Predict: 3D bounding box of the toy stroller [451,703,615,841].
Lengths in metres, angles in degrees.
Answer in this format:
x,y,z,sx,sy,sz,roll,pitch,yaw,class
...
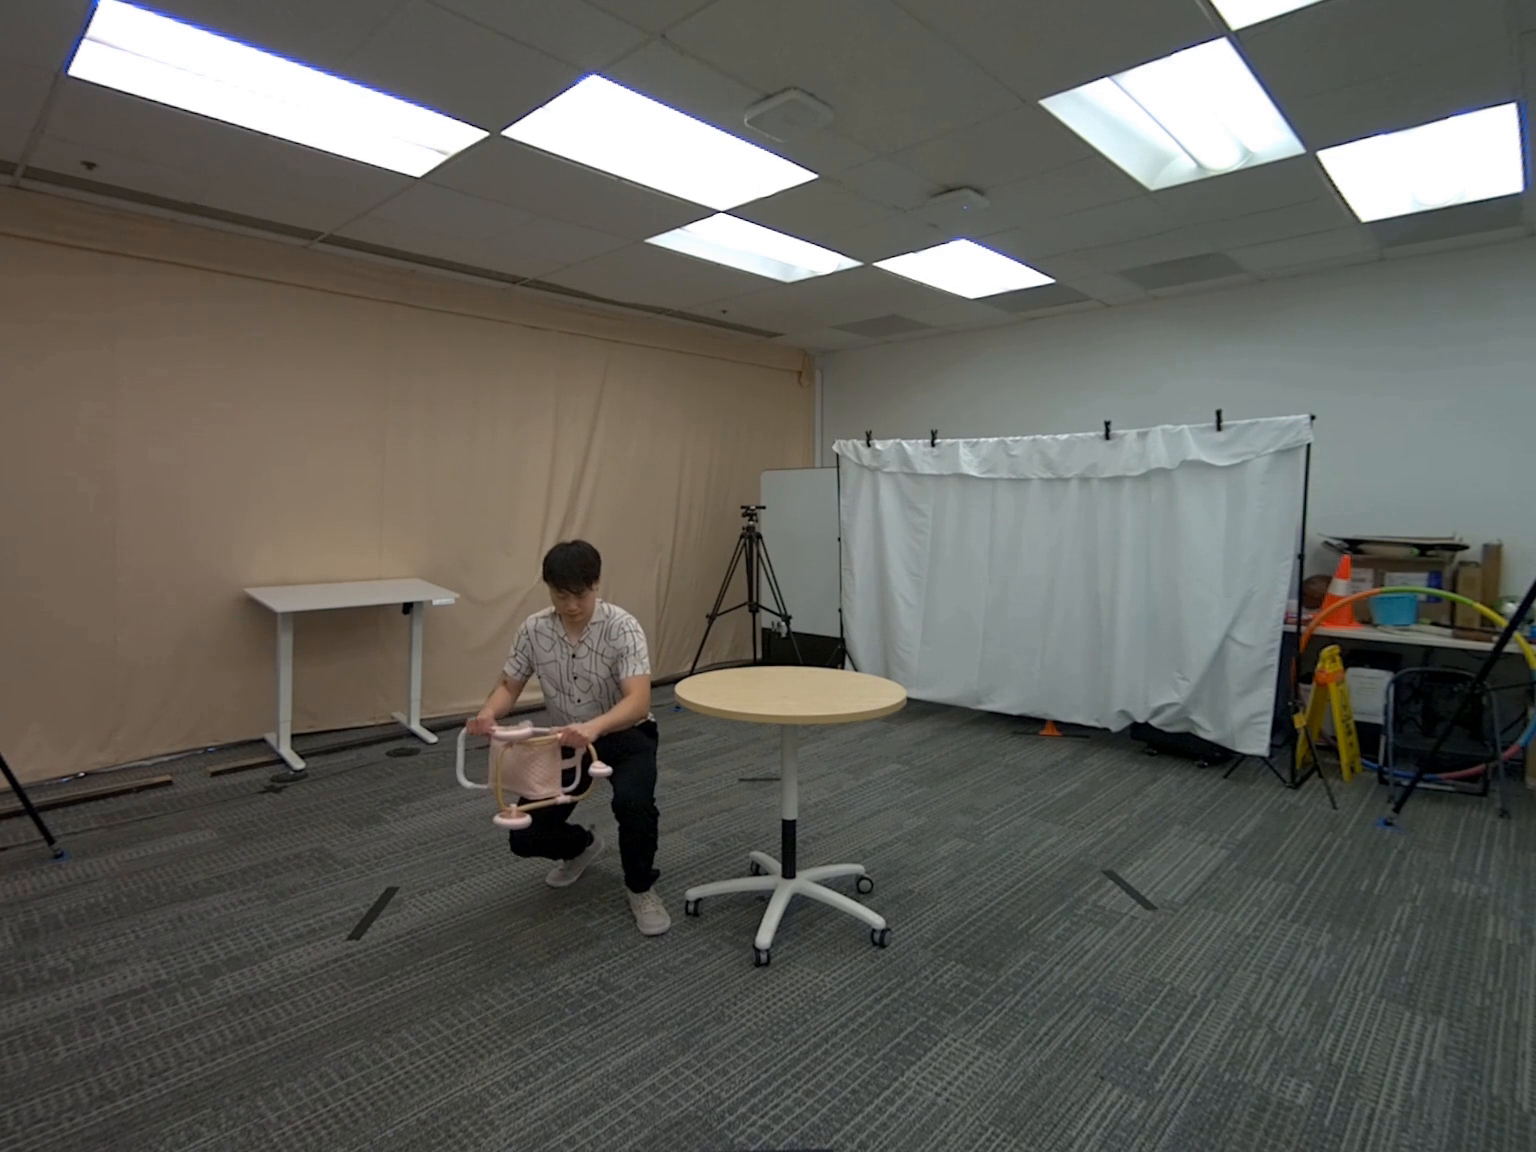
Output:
x,y,z,sx,sy,sz,roll,pitch,yaw,class
-0.727,0.578,2.621,0.332,0.282,0.550,-4,0,-34,toy stroller
